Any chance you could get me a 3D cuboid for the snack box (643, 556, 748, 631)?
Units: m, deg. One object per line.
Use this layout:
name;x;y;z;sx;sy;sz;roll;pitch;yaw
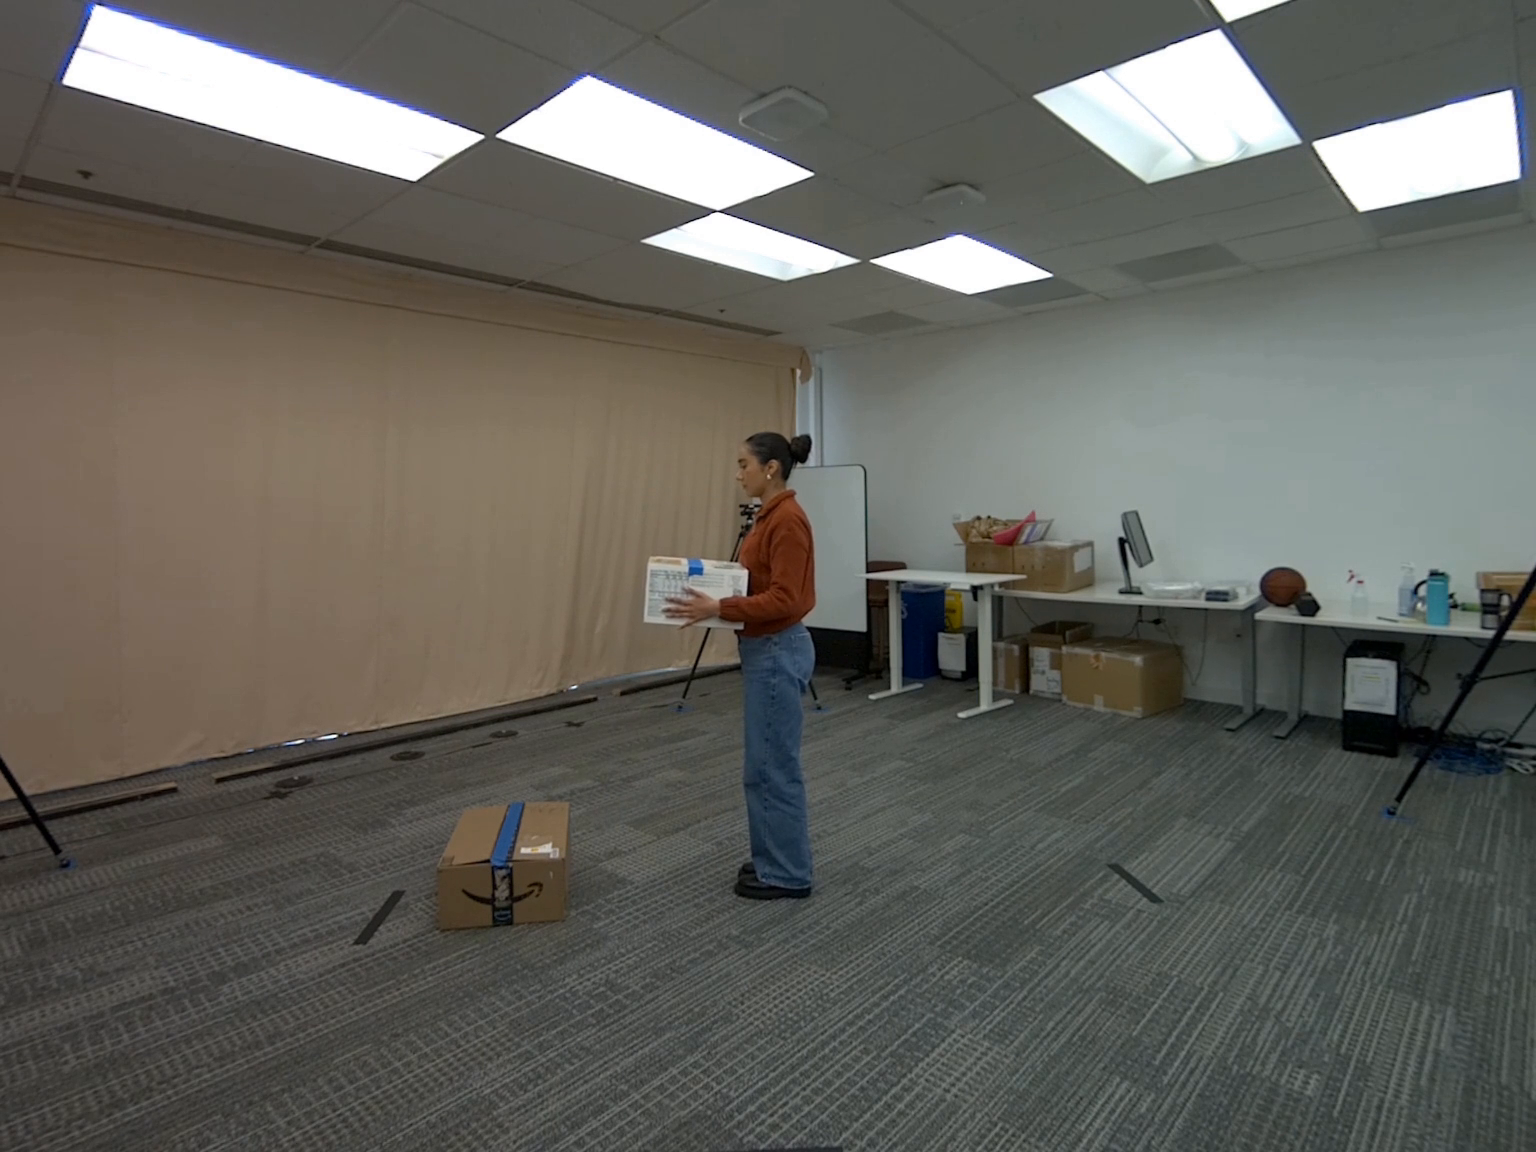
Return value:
snack box;-0.260;0.055;3.019;0.339;0.205;0.408;4;4;-5
